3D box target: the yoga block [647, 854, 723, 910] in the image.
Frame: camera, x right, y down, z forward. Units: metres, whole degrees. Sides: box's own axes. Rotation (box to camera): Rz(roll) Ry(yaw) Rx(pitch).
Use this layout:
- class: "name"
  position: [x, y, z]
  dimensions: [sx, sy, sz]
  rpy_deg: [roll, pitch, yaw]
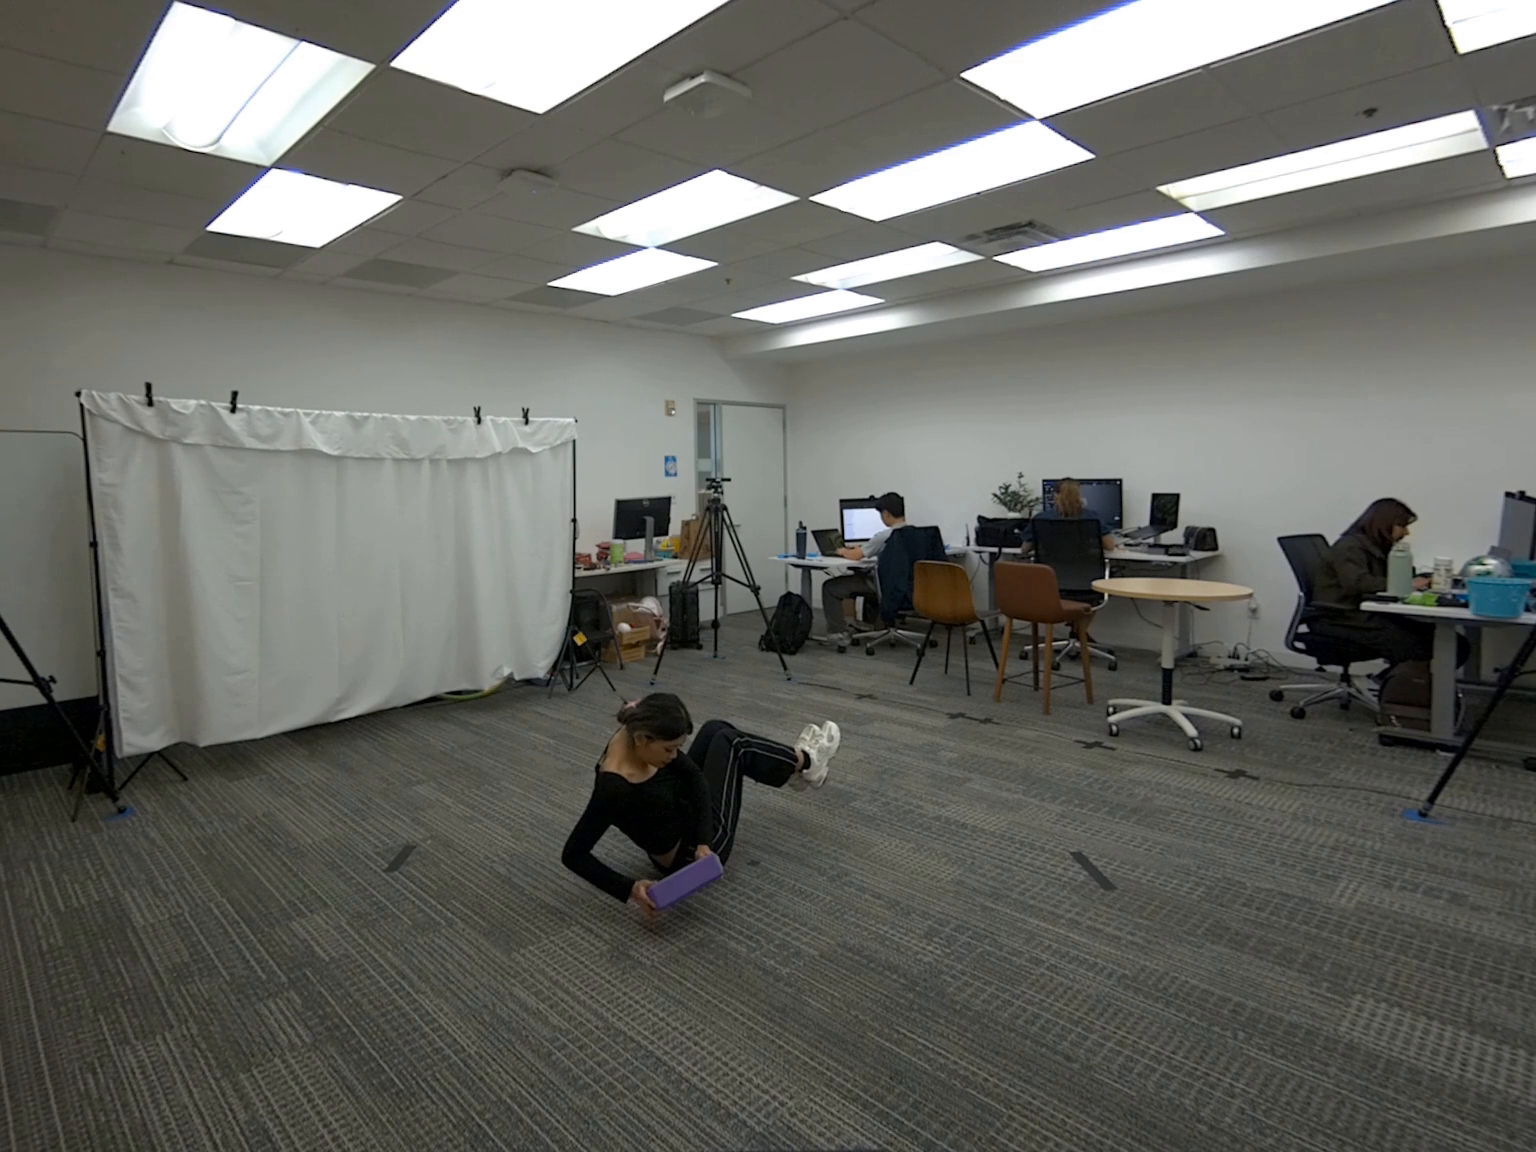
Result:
- class: "yoga block"
  position: [-0.279, 0.953, 2.673]
  dimensions: [0.225, 0.077, 0.150]
  rpy_deg: [-19, -11, -36]
